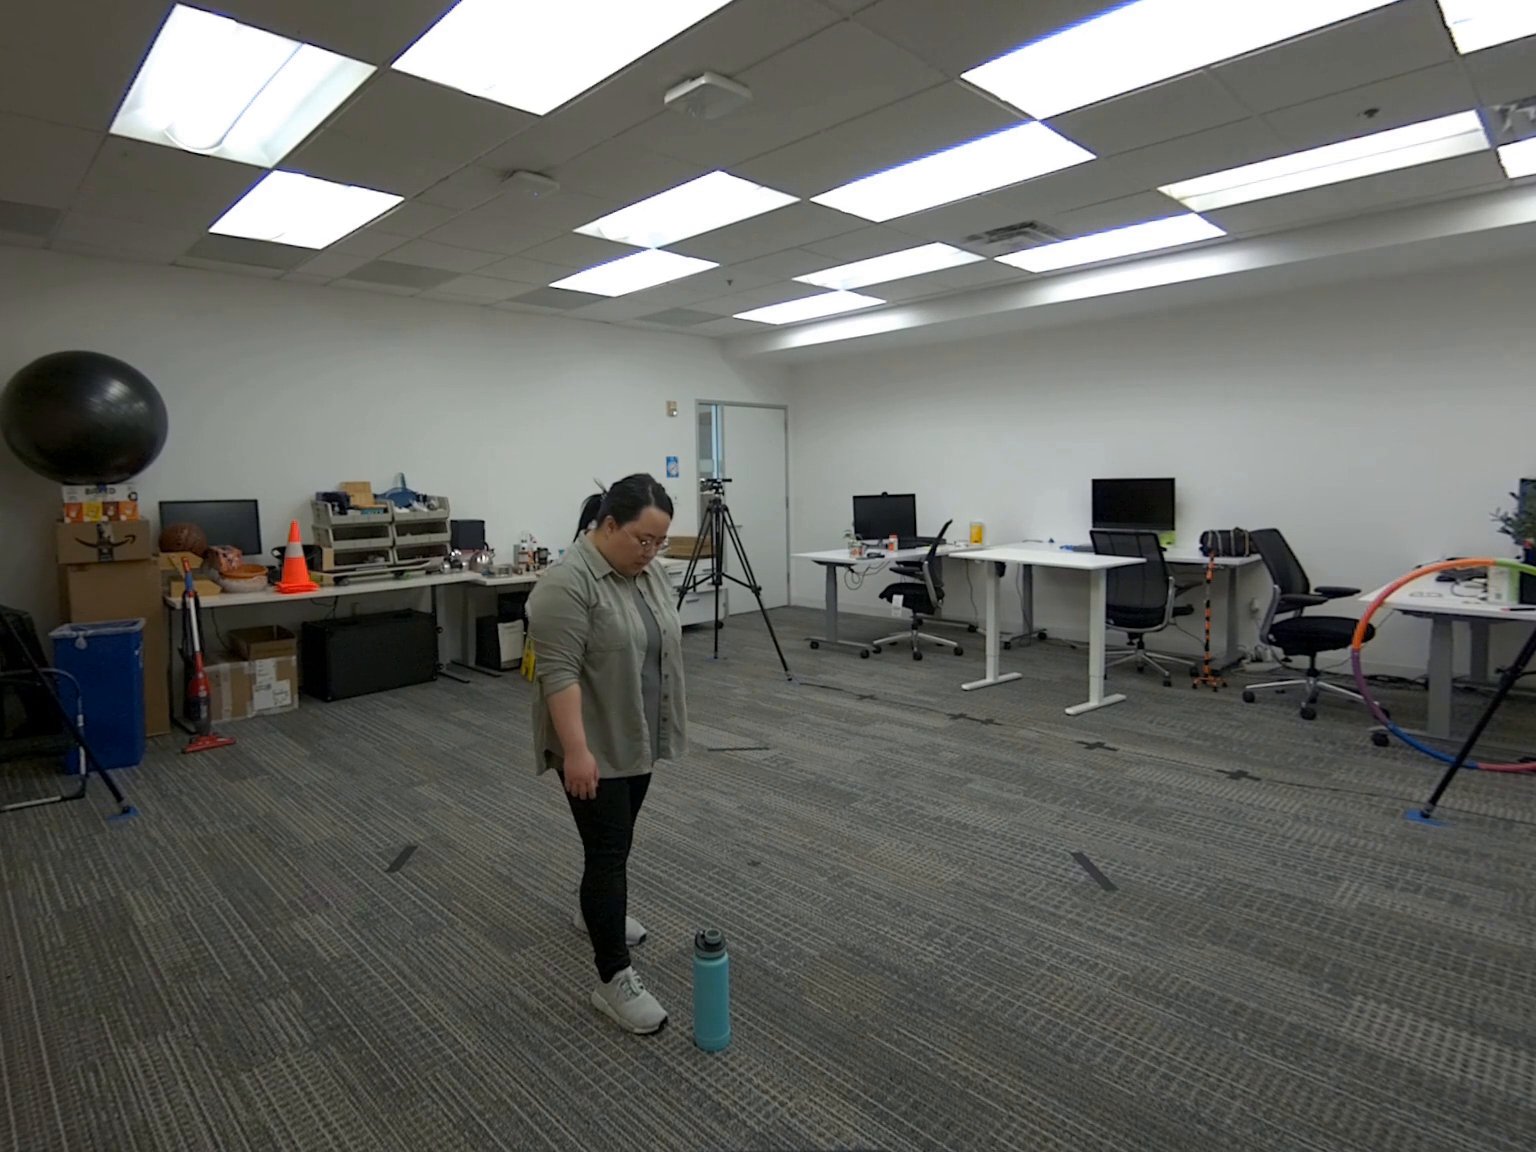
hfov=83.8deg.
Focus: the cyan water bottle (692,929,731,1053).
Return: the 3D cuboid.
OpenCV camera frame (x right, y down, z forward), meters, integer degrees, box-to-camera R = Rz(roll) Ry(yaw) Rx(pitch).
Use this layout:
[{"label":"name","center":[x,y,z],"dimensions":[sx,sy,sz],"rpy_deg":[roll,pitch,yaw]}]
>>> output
[{"label":"cyan water bottle","center":[-0.137,1.024,2.121],"dimensions":[0.092,0.282,0.093],"rpy_deg":[-3,3,-1]}]
